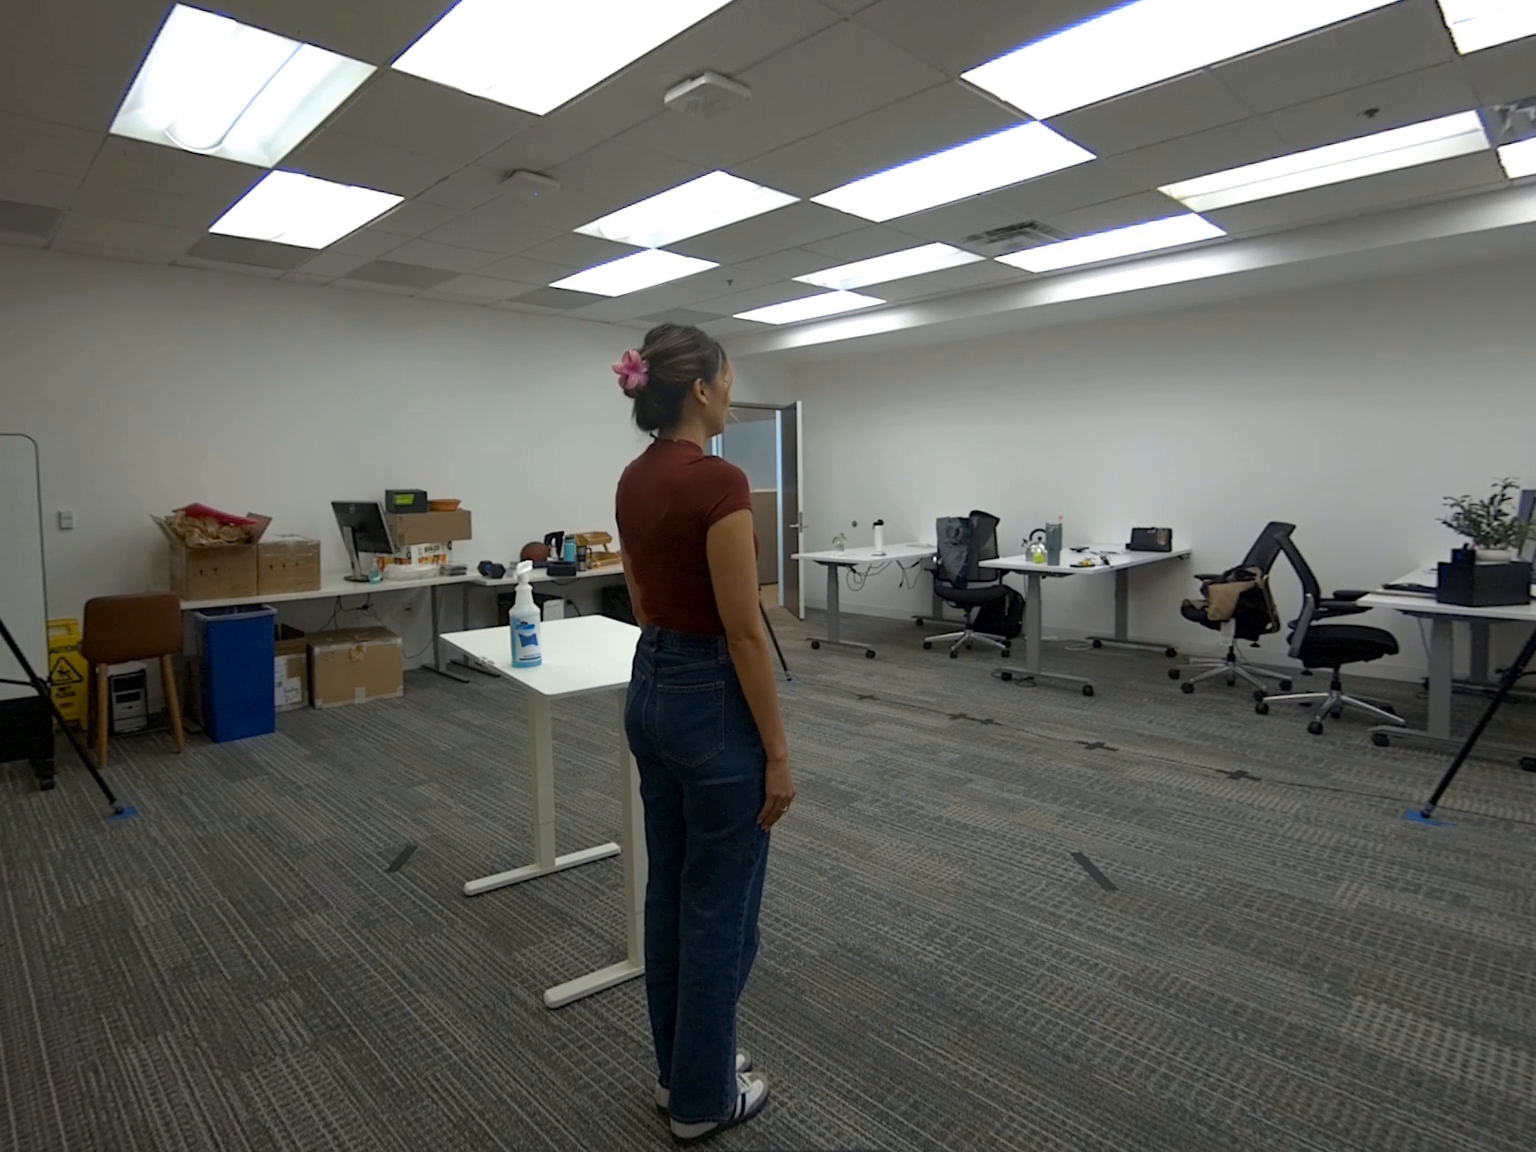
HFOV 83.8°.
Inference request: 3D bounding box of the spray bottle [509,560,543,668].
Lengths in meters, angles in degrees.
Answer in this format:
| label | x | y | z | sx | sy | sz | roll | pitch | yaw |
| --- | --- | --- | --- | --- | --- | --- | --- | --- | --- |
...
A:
| label | x | y | z | sx | sy | sz | roll | pitch | yaw |
| --- | --- | --- | --- | --- | --- | --- | --- | --- | --- |
| spray bottle | -0.699 | 0.112 | 2.446 | 0.089 | 0.296 | 0.088 | 3 | 4 | 36 |
